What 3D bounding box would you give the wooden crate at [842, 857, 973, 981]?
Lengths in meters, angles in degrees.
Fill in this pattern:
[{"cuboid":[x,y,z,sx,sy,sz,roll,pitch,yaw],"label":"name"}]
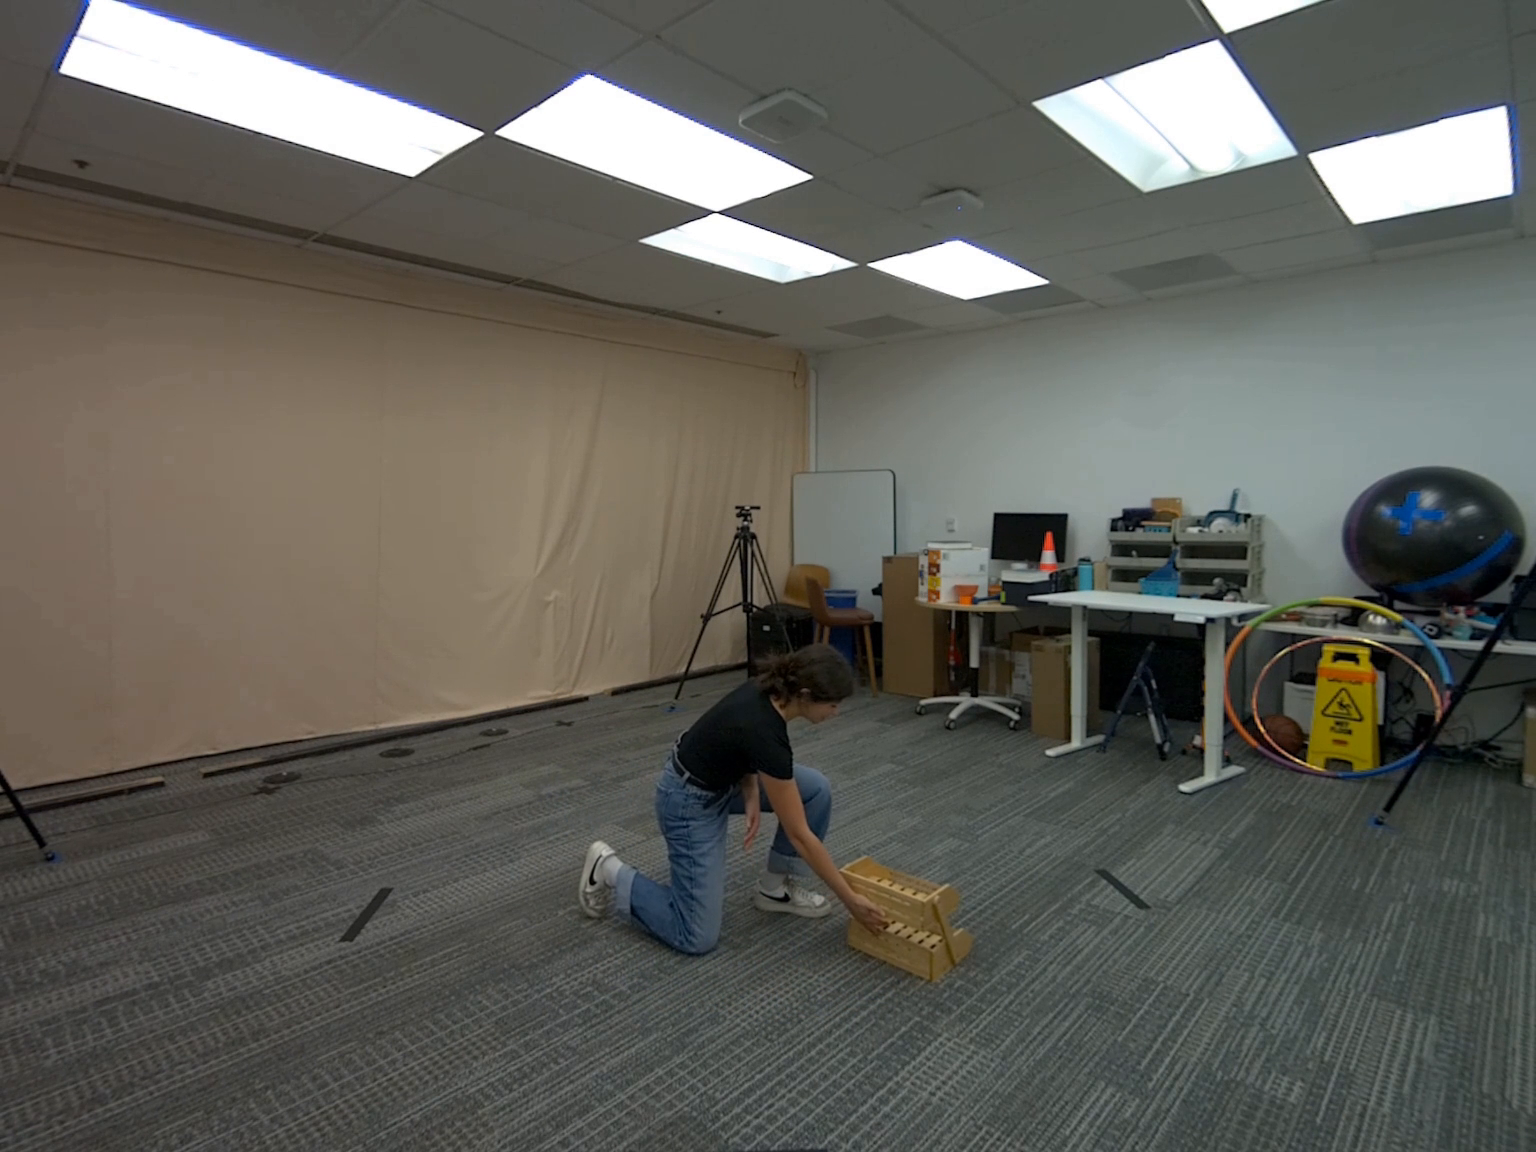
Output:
[{"cuboid":[0.441,1.044,2.620,0.335,0.272,0.293,3,6,42],"label":"wooden crate"}]
